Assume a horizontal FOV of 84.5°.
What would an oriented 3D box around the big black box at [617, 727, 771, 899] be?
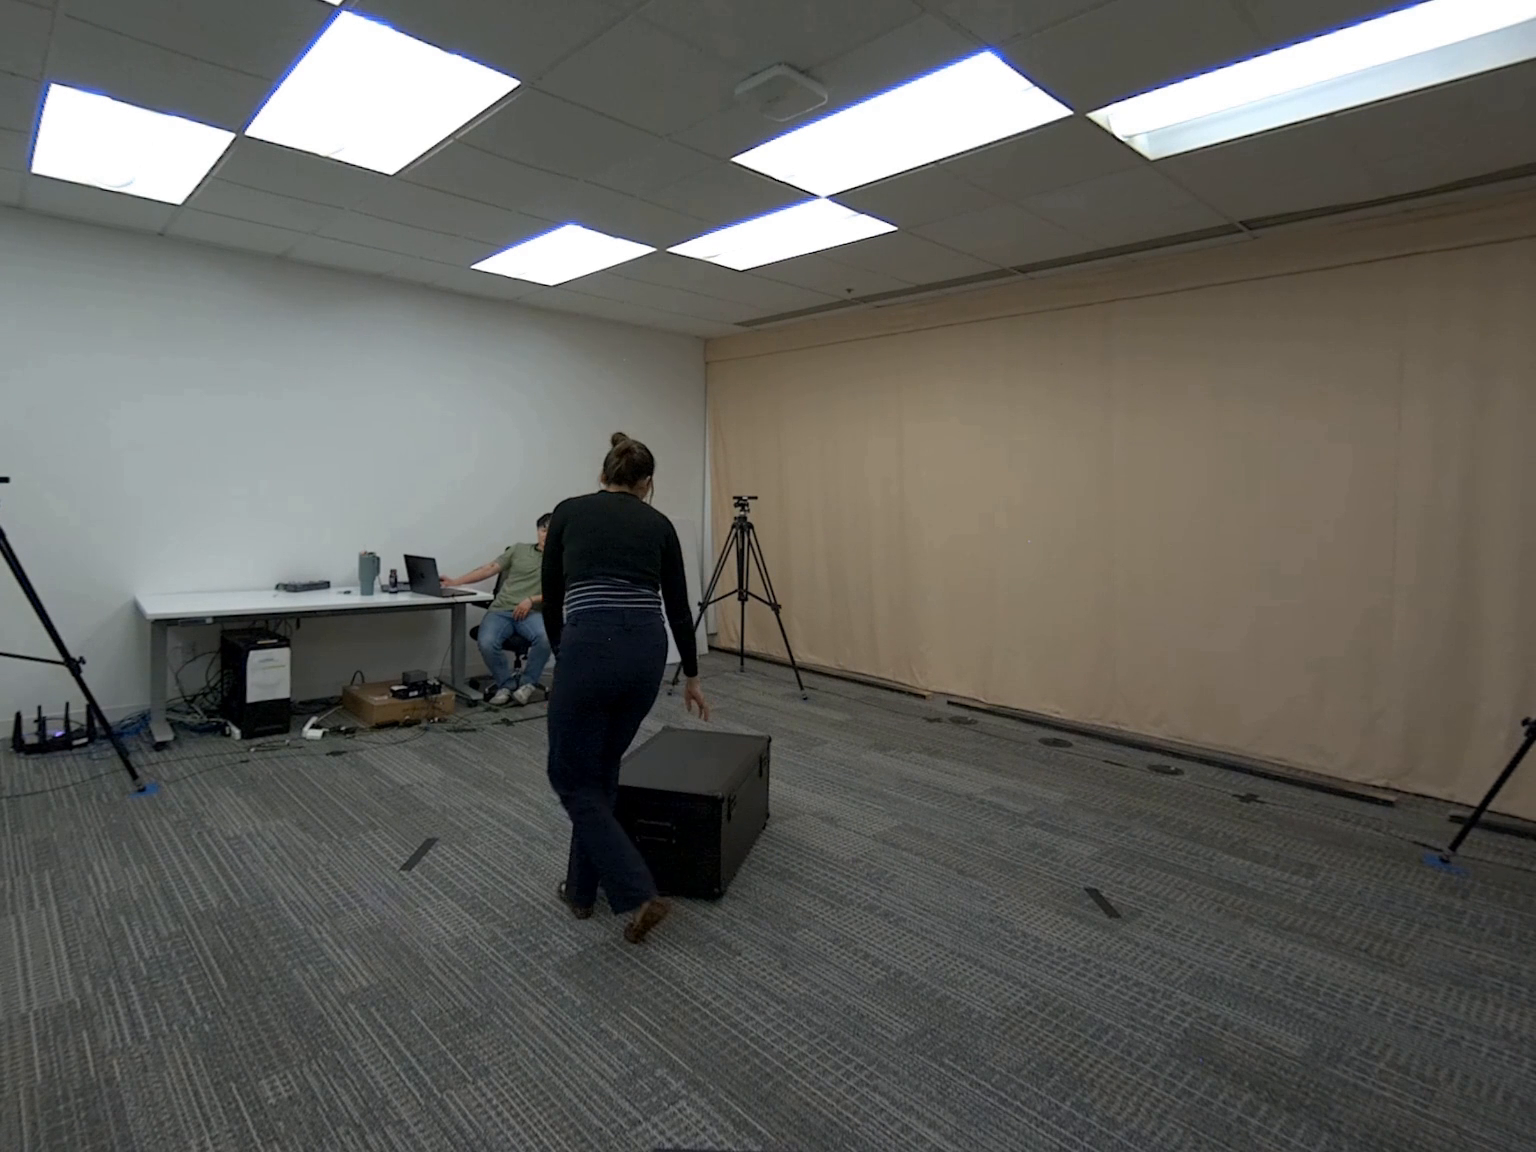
[{"bbox_3d":[-0.299,0.886,3.320,0.527,0.395,0.854,2,5,13],"label":"big black box"}]
